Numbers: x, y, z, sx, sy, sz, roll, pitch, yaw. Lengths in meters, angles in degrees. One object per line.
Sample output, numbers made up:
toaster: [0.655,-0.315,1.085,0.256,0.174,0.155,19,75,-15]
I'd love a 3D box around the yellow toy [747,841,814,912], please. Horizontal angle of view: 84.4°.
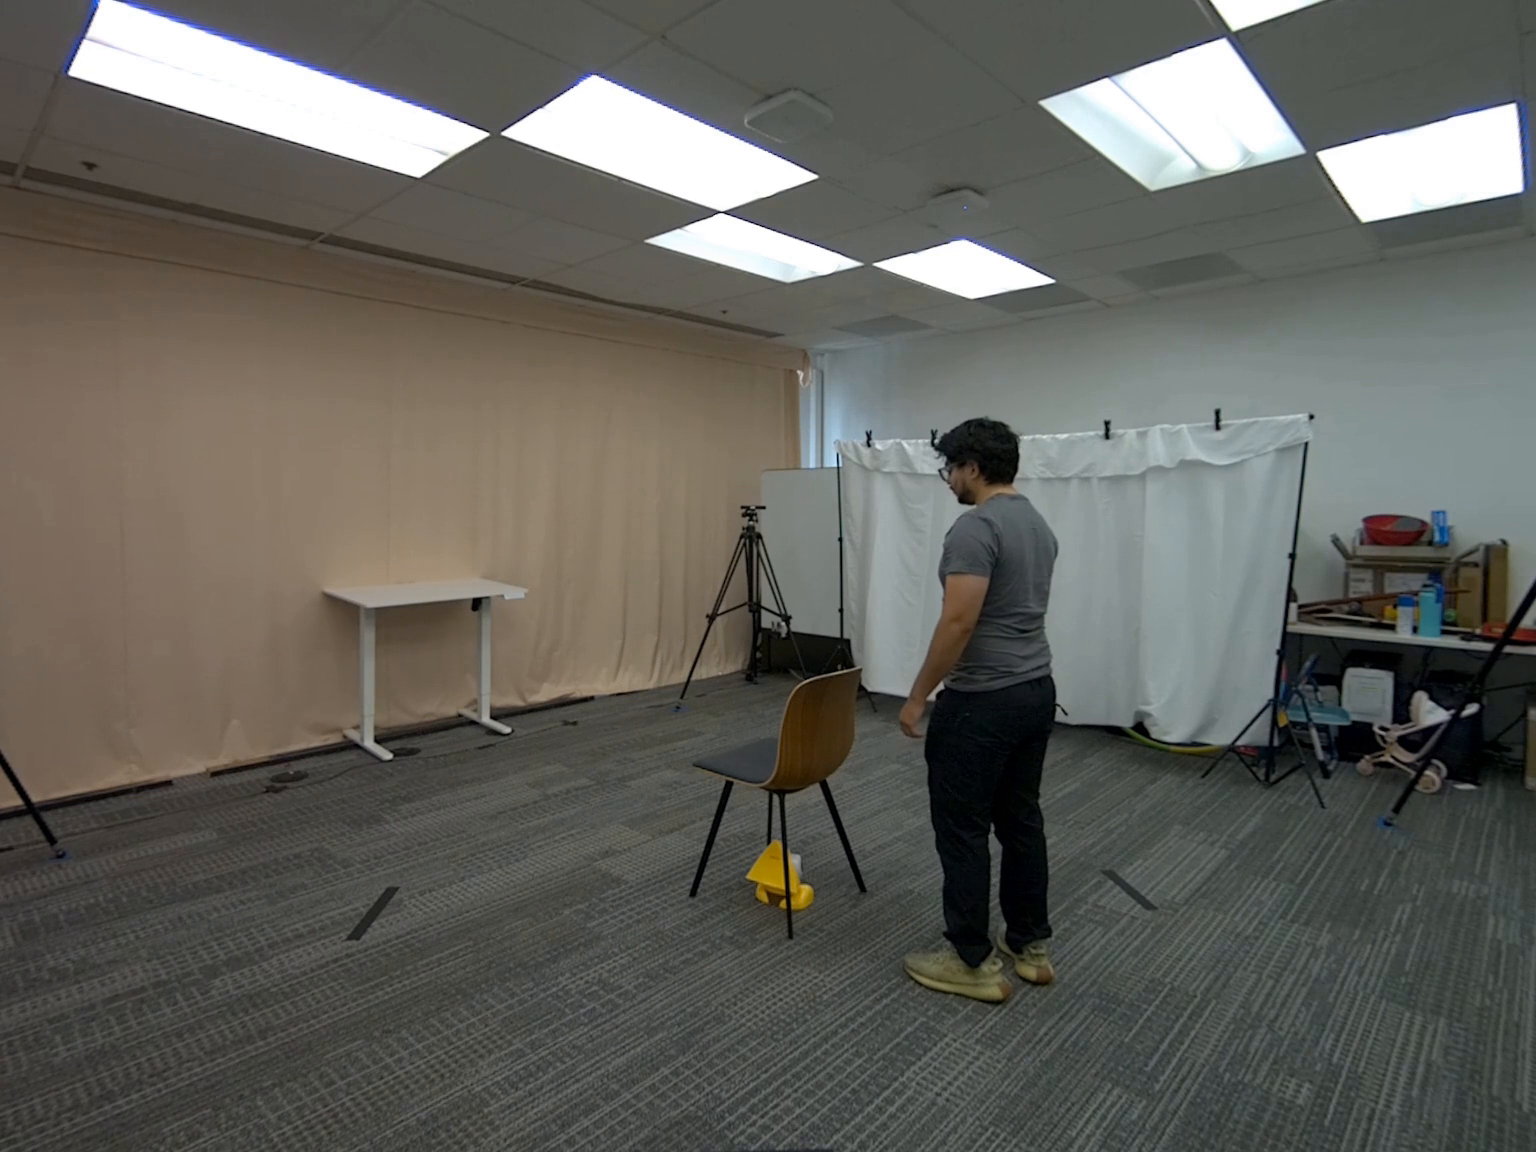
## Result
yellow toy: [0.061,1.029,2.980,0.211,0.230,0.188,3,5,34]
